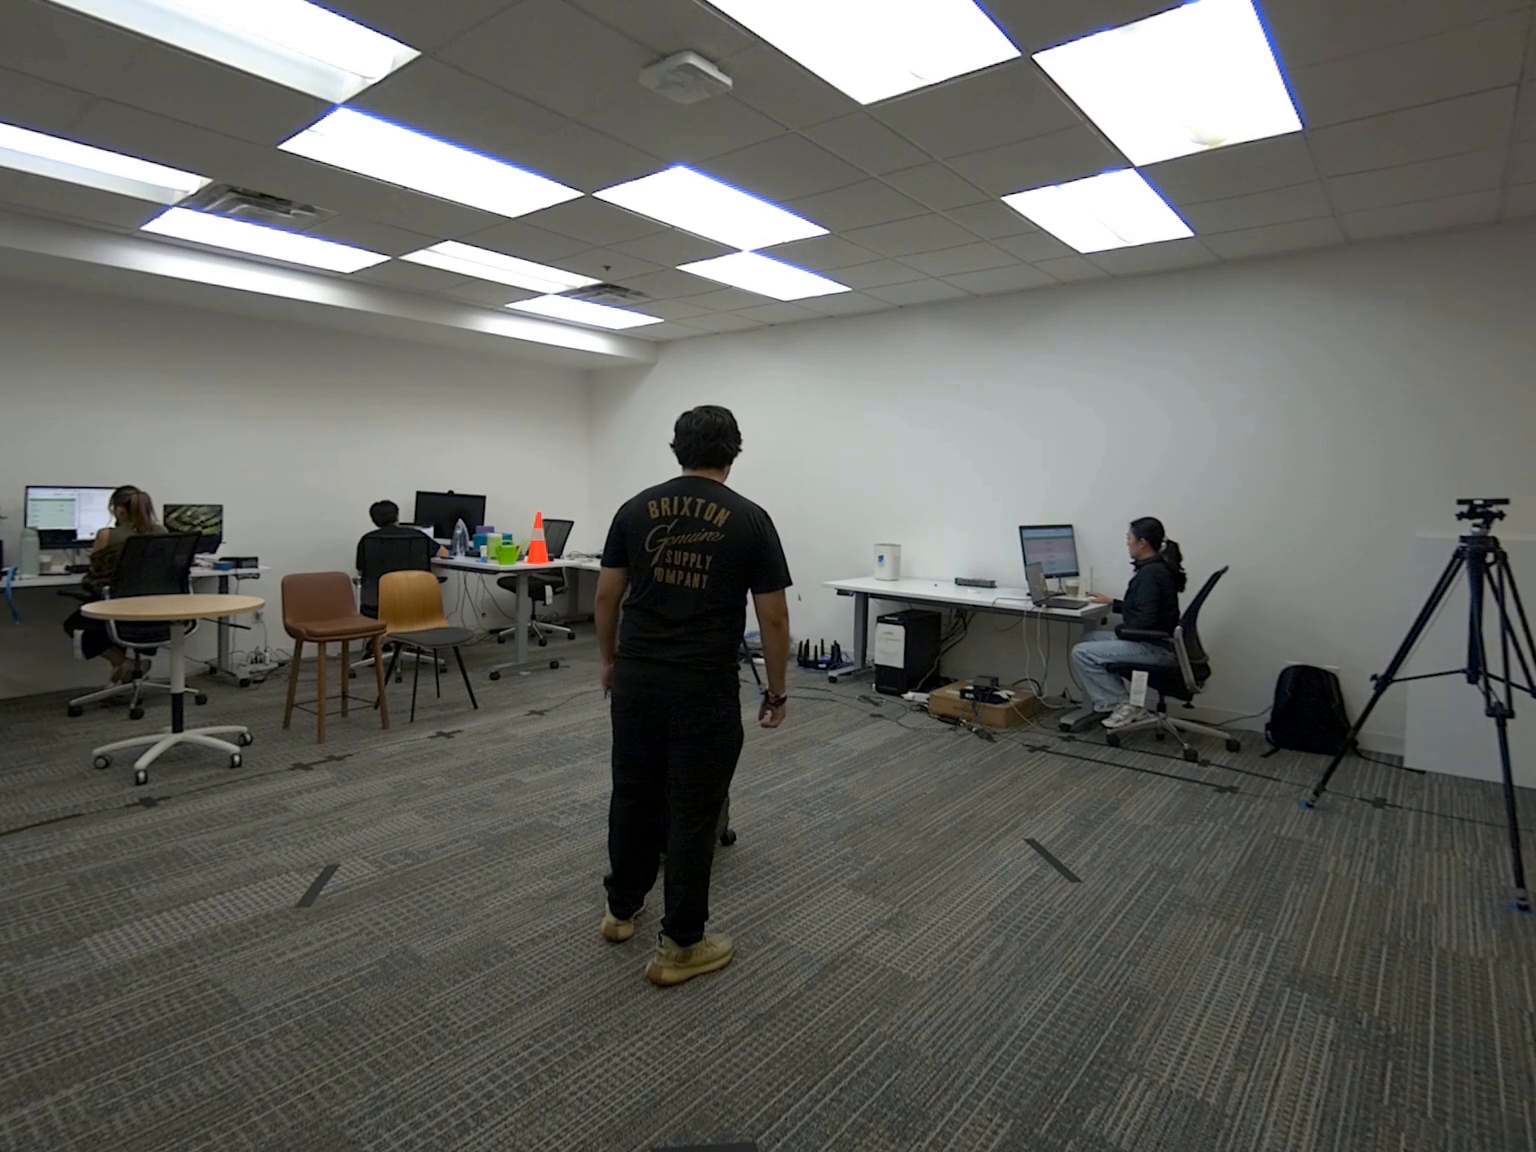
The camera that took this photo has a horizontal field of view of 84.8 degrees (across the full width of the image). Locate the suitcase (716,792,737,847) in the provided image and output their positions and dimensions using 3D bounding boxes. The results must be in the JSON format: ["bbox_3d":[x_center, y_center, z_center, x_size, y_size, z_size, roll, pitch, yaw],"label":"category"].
[{"bbox_3d":[-0.329,0.577,3.226,0.262,0.977,0.378,-2,2,17],"label":"suitcase"}]
